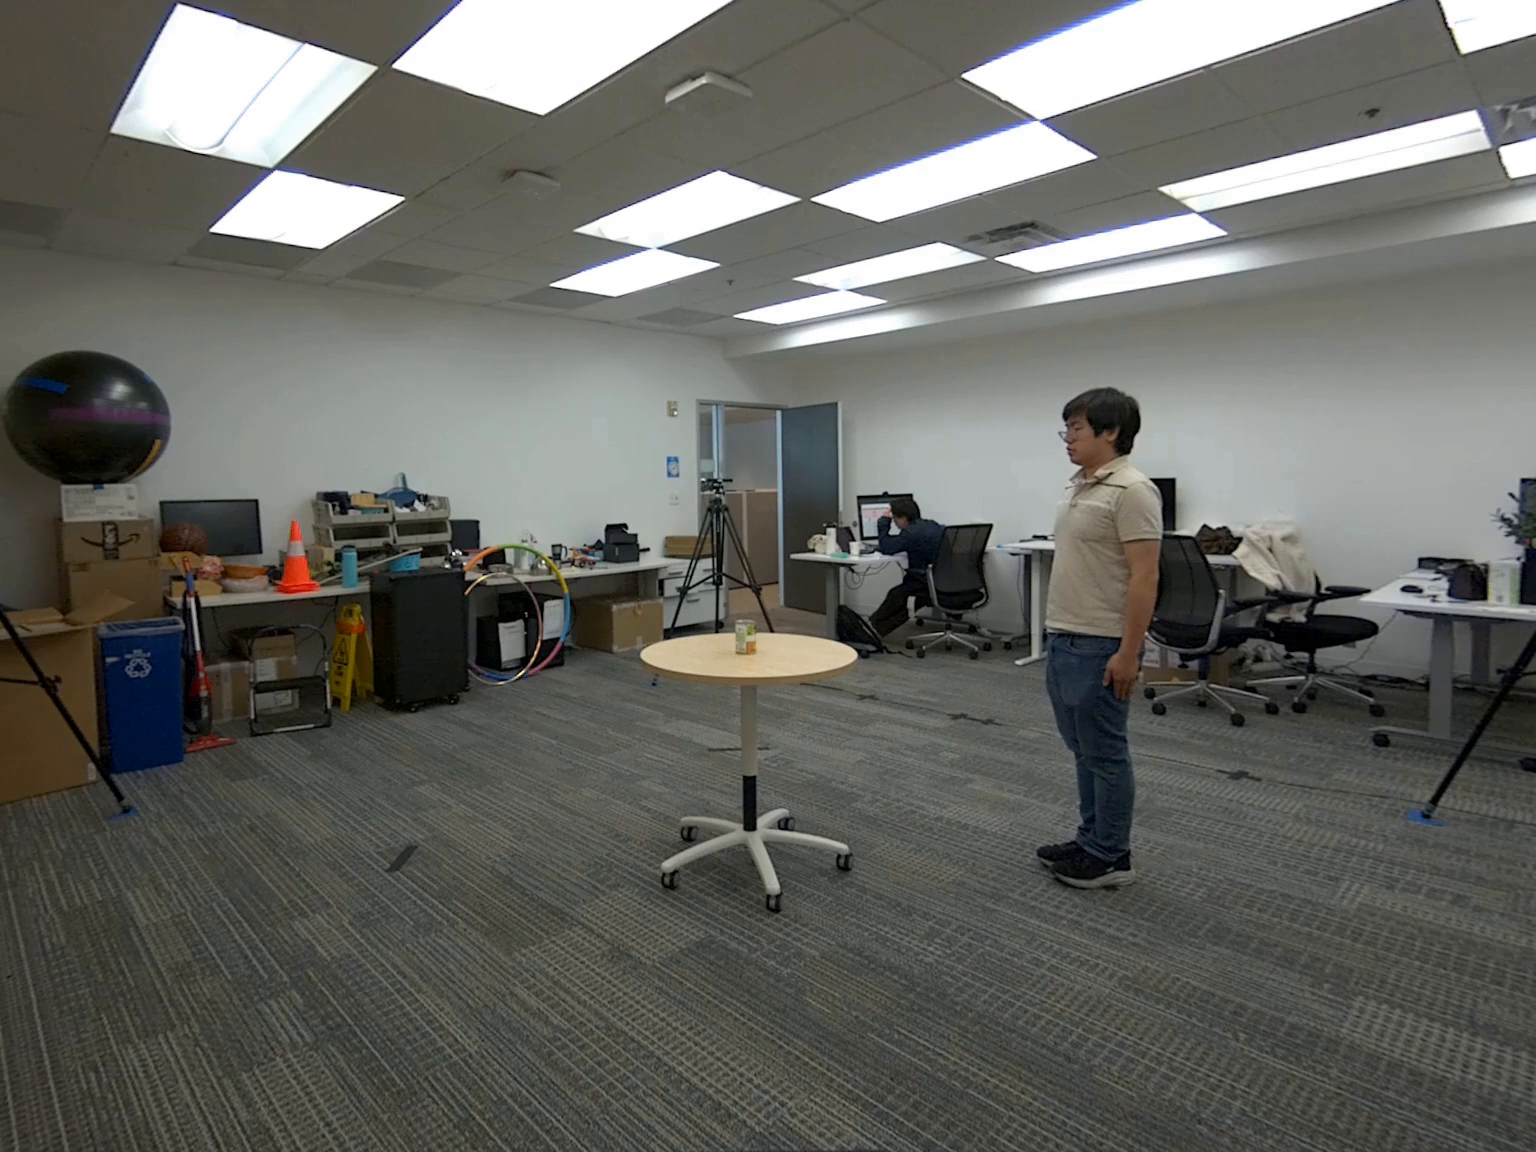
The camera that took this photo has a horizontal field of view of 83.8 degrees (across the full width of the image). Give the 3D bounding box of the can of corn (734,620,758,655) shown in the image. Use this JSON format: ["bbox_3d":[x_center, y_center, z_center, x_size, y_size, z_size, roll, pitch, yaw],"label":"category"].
[{"bbox_3d":[-0.074,0.213,3.011,0.074,0.111,0.074,0,3,-2],"label":"can of corn"}]
